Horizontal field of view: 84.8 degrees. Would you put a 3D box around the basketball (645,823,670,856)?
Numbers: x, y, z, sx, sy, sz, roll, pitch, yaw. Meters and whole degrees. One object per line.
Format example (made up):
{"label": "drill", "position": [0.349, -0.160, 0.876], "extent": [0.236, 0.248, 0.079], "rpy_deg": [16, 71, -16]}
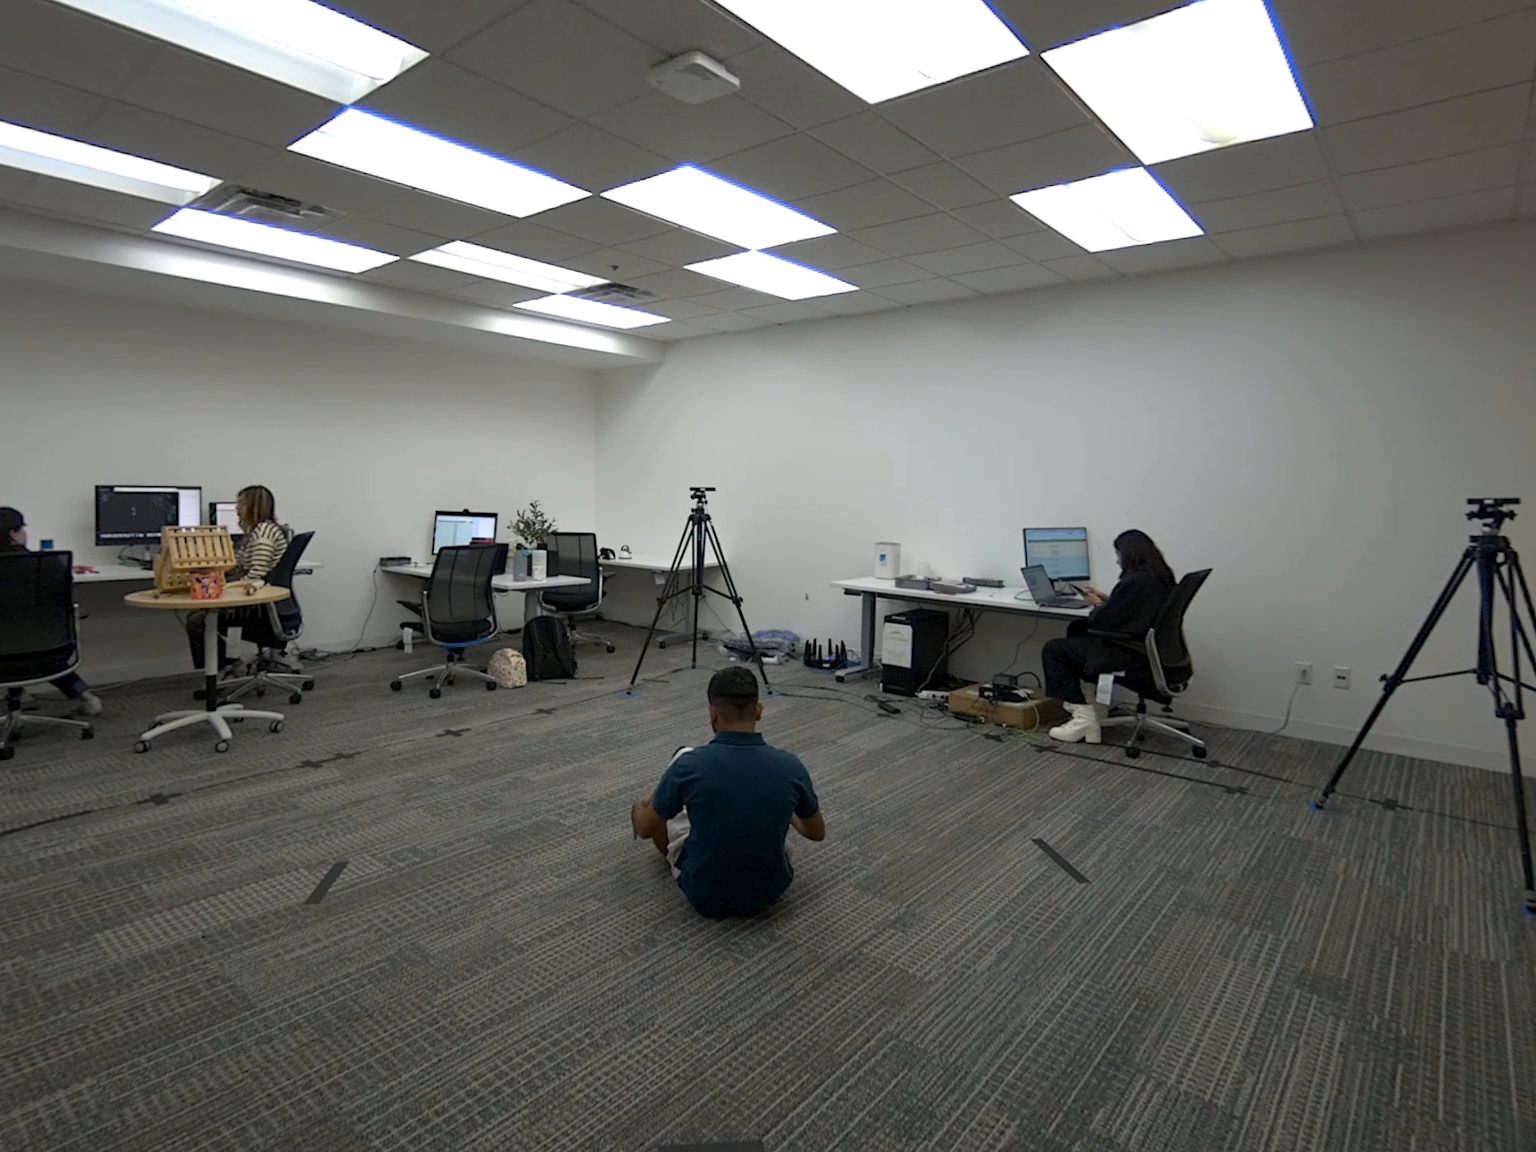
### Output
{"label": "basketball", "position": [-0.313, 0.933, 3.186], "extent": [0.235, 0.235, 0.237], "rpy_deg": [1, 4, -2]}
